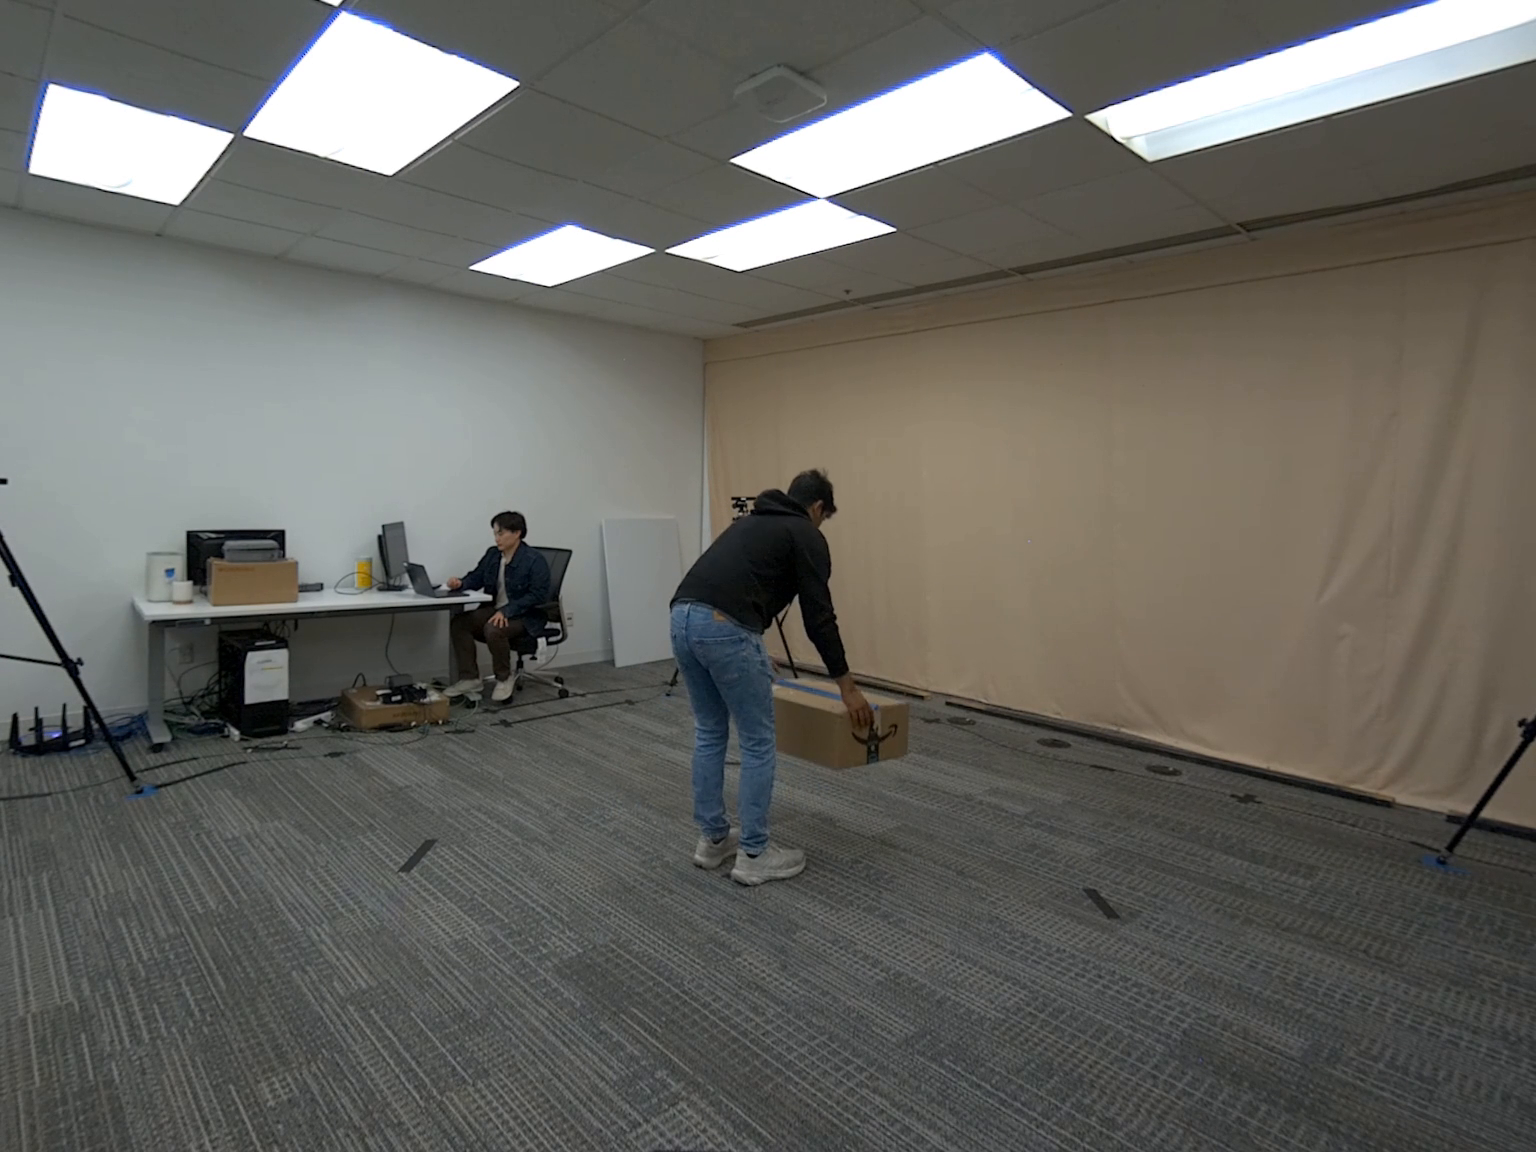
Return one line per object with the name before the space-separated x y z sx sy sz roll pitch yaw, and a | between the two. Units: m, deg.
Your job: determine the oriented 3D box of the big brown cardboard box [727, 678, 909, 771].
big brown cardboard box | 0.210 0.590 3.465 0.408 0.232 0.604 -1 6 -41
